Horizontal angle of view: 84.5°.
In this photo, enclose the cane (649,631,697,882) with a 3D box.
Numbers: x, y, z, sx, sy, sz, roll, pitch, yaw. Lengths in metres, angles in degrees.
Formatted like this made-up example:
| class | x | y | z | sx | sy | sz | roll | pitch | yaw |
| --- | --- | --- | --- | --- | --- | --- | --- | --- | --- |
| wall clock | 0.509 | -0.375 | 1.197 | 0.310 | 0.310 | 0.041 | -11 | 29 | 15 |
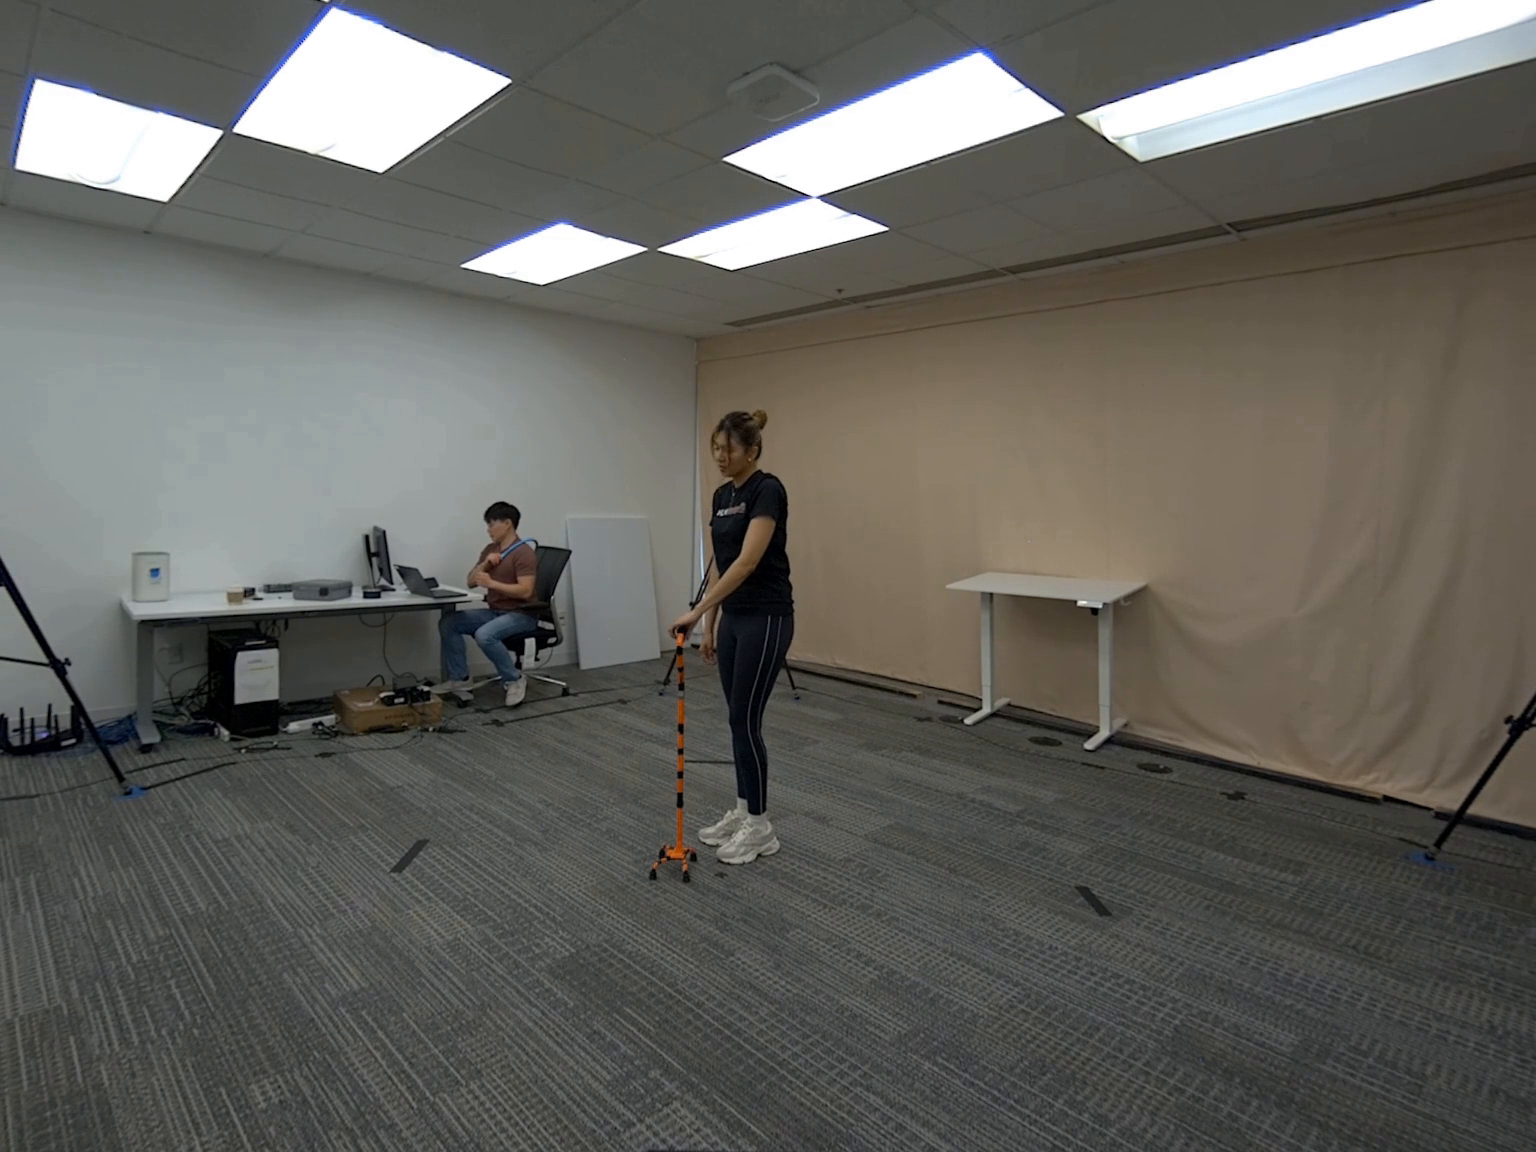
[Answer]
| class | x | y | z | sx | sy | sz | roll | pitch | yaw |
| --- | --- | --- | --- | --- | --- | --- | --- | --- | --- |
| cane | -0.346 | 0.649 | 3.116 | 0.152 | 0.905 | 0.206 | 2 | 3 | 3 |
